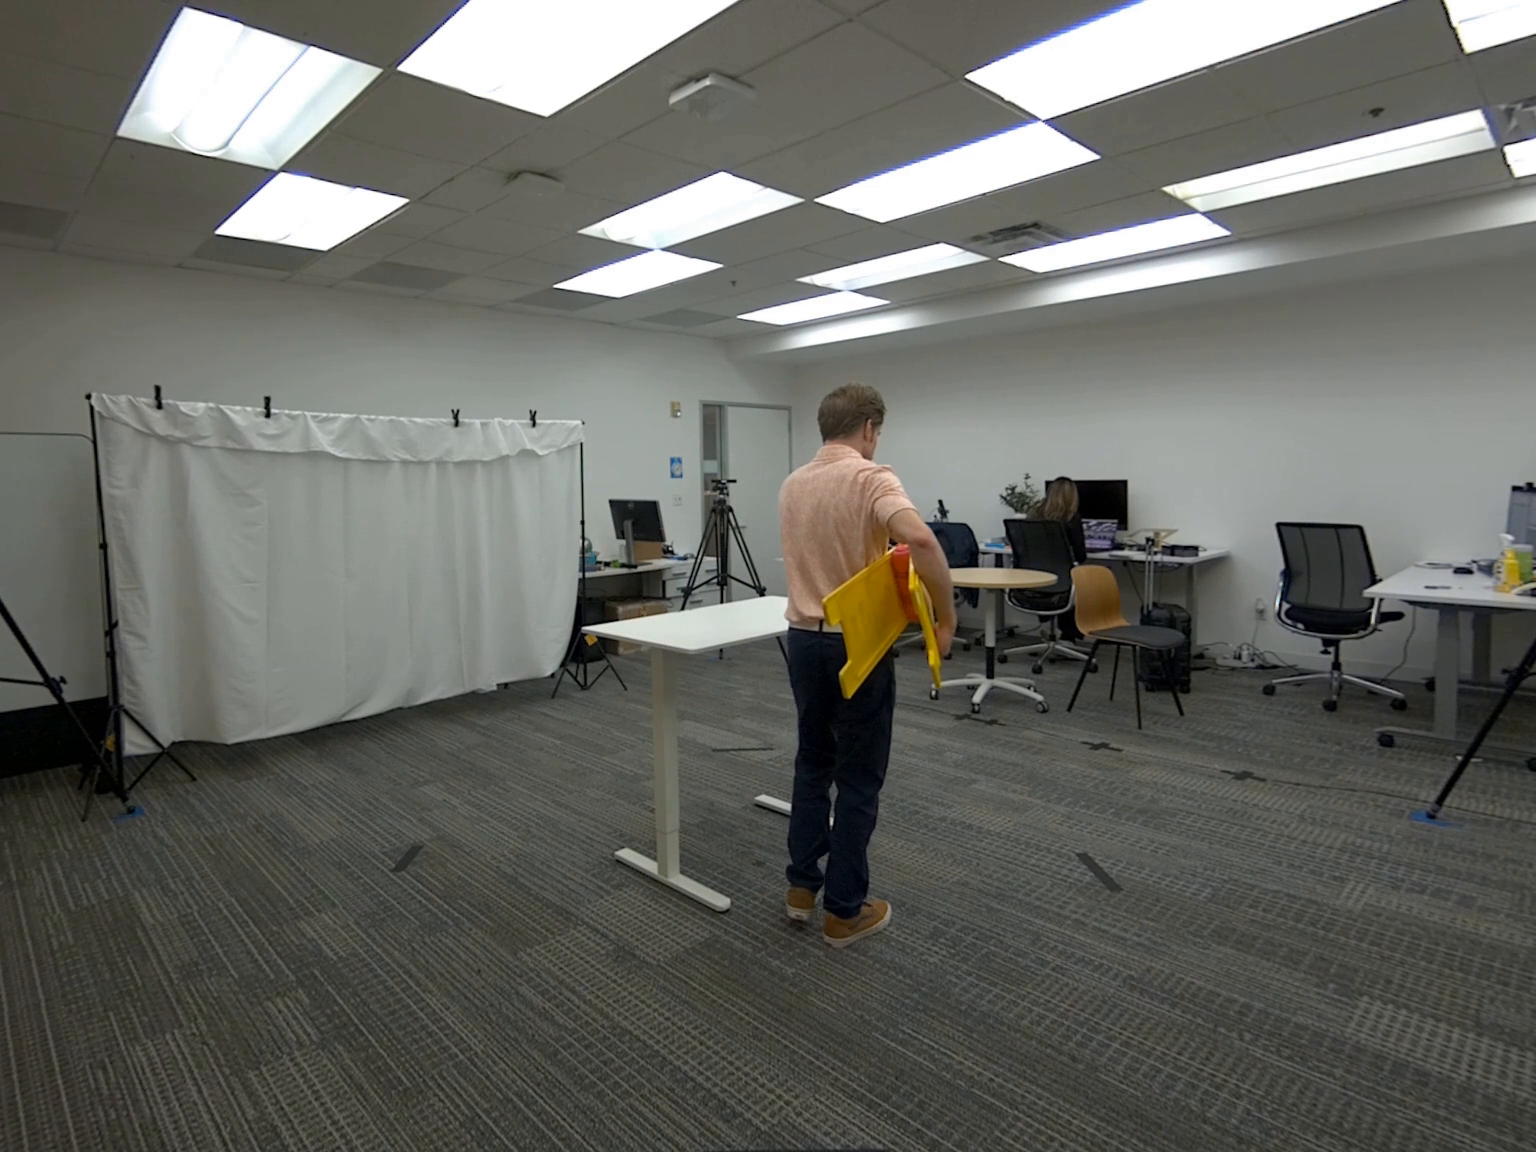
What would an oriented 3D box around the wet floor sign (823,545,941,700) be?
[{"bbox_3d":[0.402,0.077,2.446,0.295,0.278,0.644,-10,15,22],"label":"wet floor sign"}]
